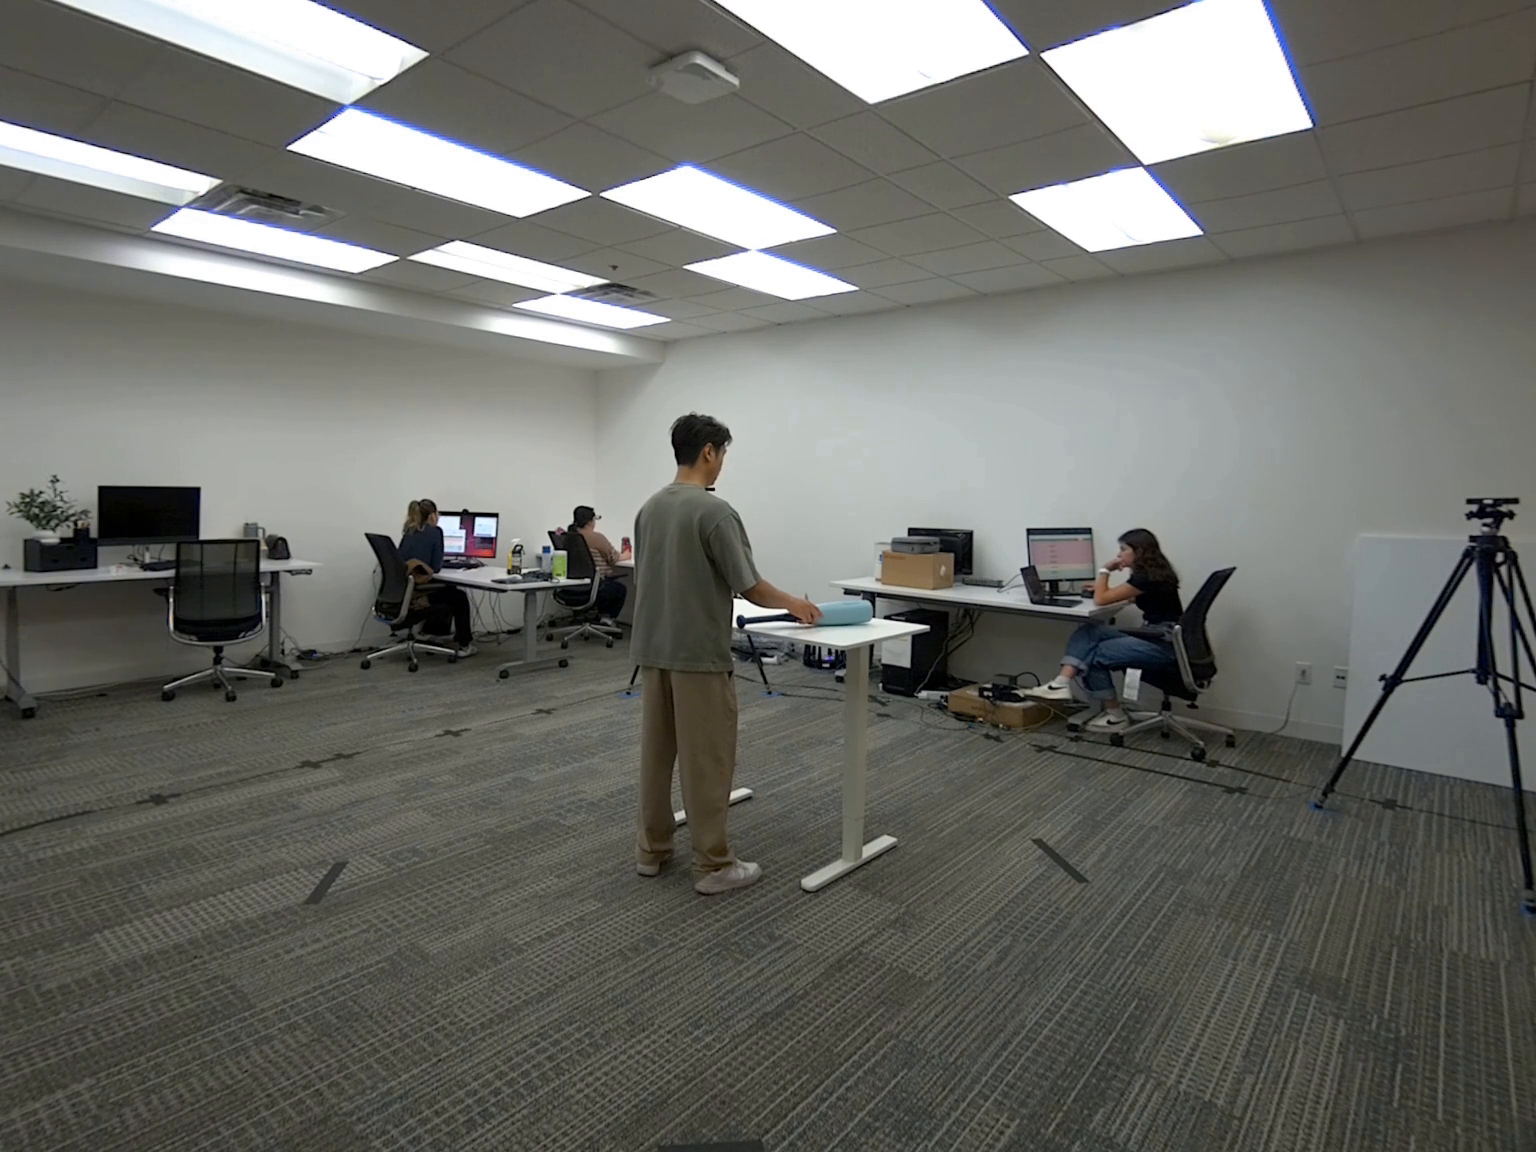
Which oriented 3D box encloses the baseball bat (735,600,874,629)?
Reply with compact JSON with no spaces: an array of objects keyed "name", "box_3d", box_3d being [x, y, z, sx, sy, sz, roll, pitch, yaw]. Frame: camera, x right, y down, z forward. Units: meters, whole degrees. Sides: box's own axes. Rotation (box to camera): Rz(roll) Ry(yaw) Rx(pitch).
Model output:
[{"name":"baseball bat","box_3d":[0.131,0.154,3.195,0.534,0.088,0.091,-4,6,-17]}]
